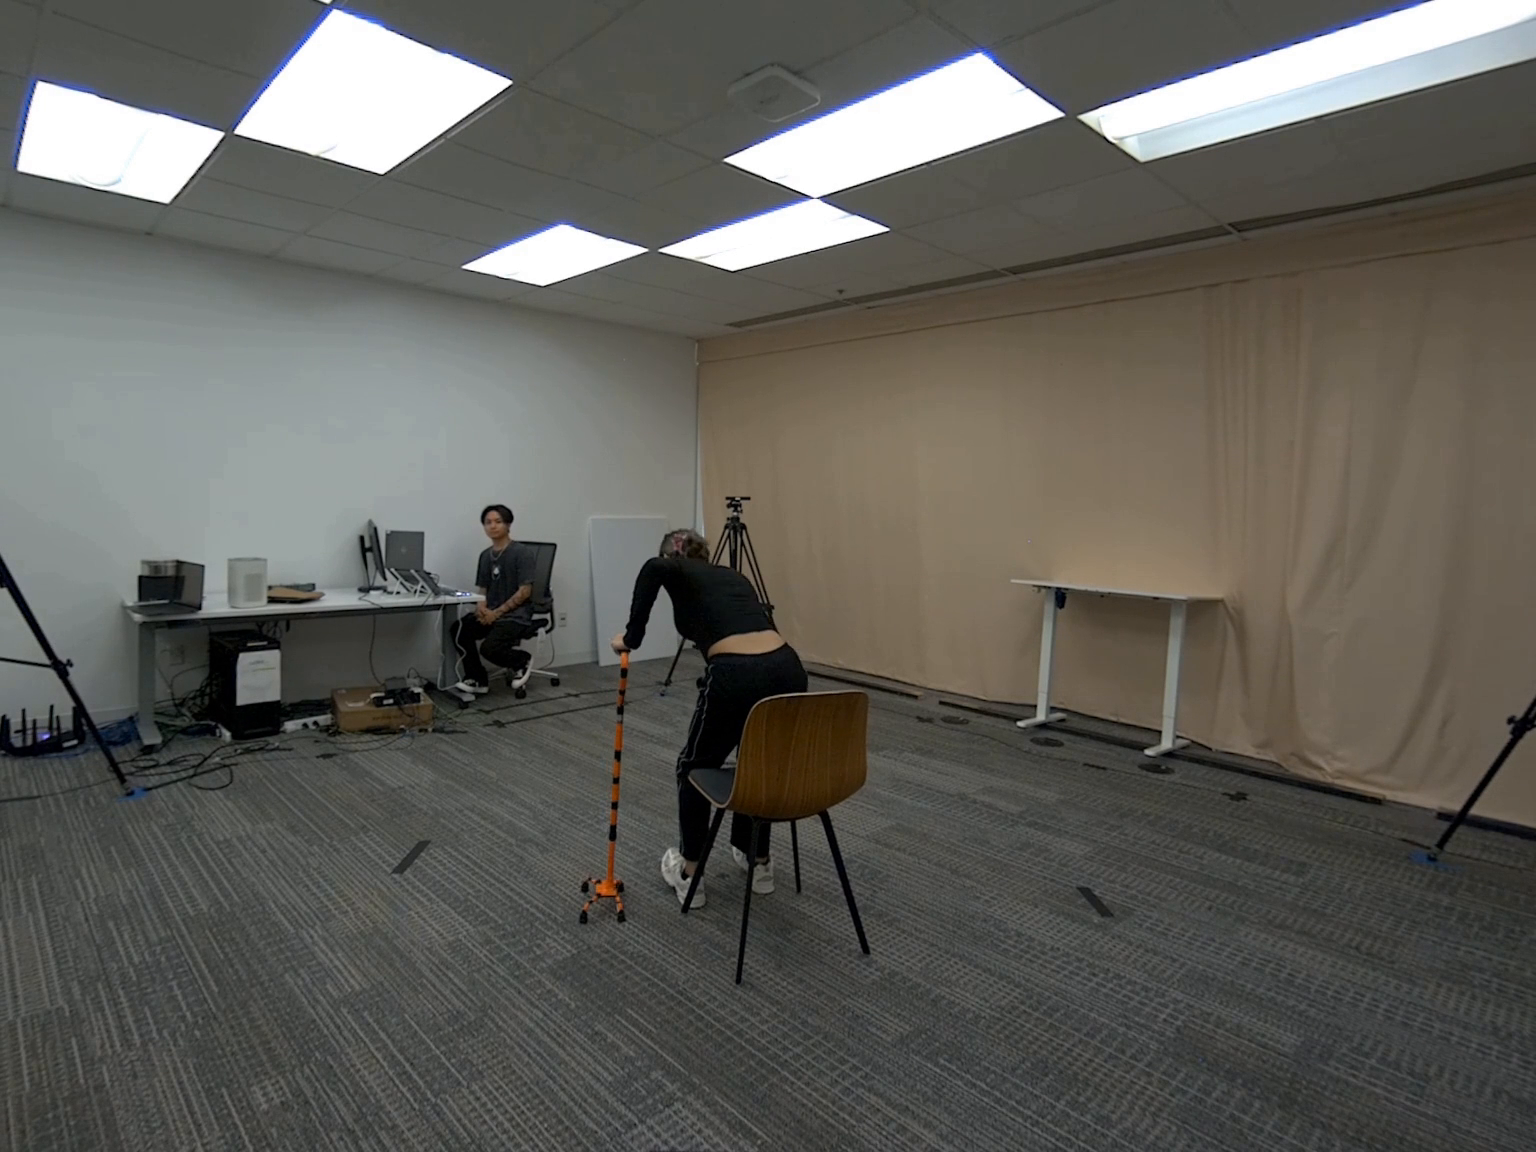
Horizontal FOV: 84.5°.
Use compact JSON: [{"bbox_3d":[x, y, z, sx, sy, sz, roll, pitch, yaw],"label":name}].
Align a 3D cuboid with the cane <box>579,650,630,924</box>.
[{"bbox_3d":[-0.524,0.669,2.770,0.150,0.903,0.209,3,8,-13],"label":"cane"}]
